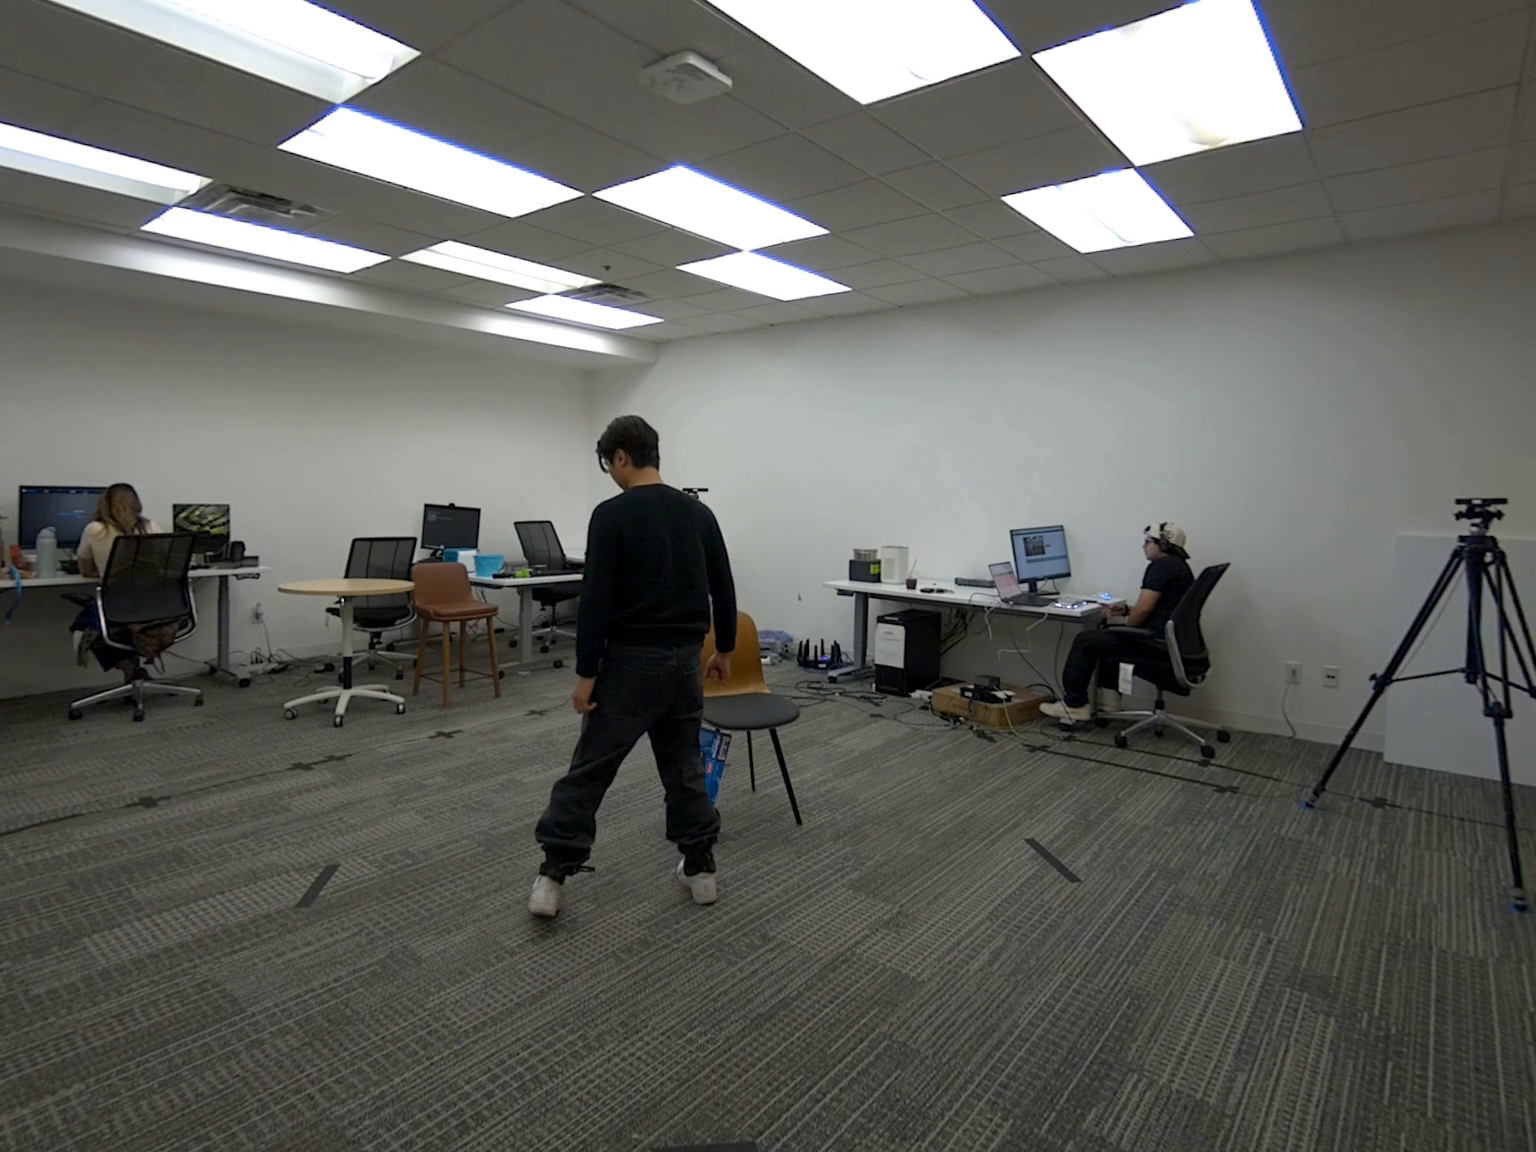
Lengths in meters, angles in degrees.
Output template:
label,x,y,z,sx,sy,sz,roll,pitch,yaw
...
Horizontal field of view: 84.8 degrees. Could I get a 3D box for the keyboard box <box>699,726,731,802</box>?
label,x,y,z,sx,sy,sz,roll,pitch,yaw
keyboard box,-0.285,0.827,3.395,0.182,0.440,0.057,2,-17,45
